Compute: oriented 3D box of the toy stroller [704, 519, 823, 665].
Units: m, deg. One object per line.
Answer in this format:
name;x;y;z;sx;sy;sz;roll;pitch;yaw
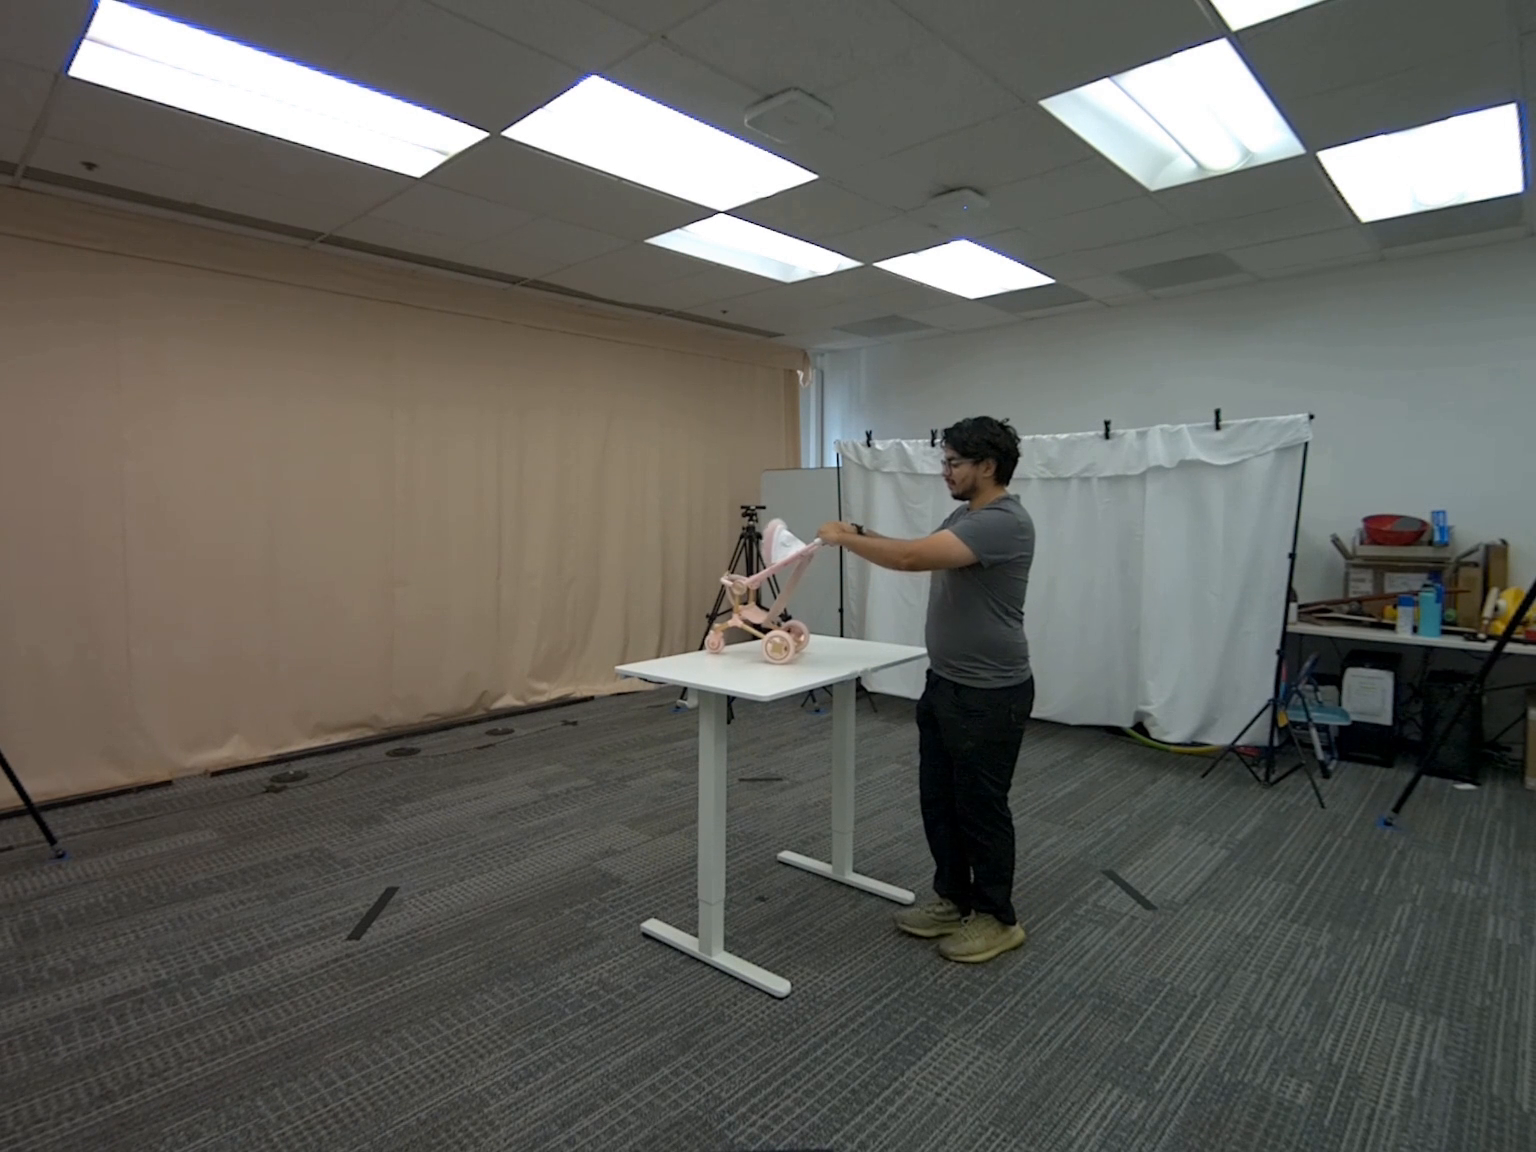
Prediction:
toy stroller;0.010;0.050;2.822;0.349;0.533;0.276;17;8;18
